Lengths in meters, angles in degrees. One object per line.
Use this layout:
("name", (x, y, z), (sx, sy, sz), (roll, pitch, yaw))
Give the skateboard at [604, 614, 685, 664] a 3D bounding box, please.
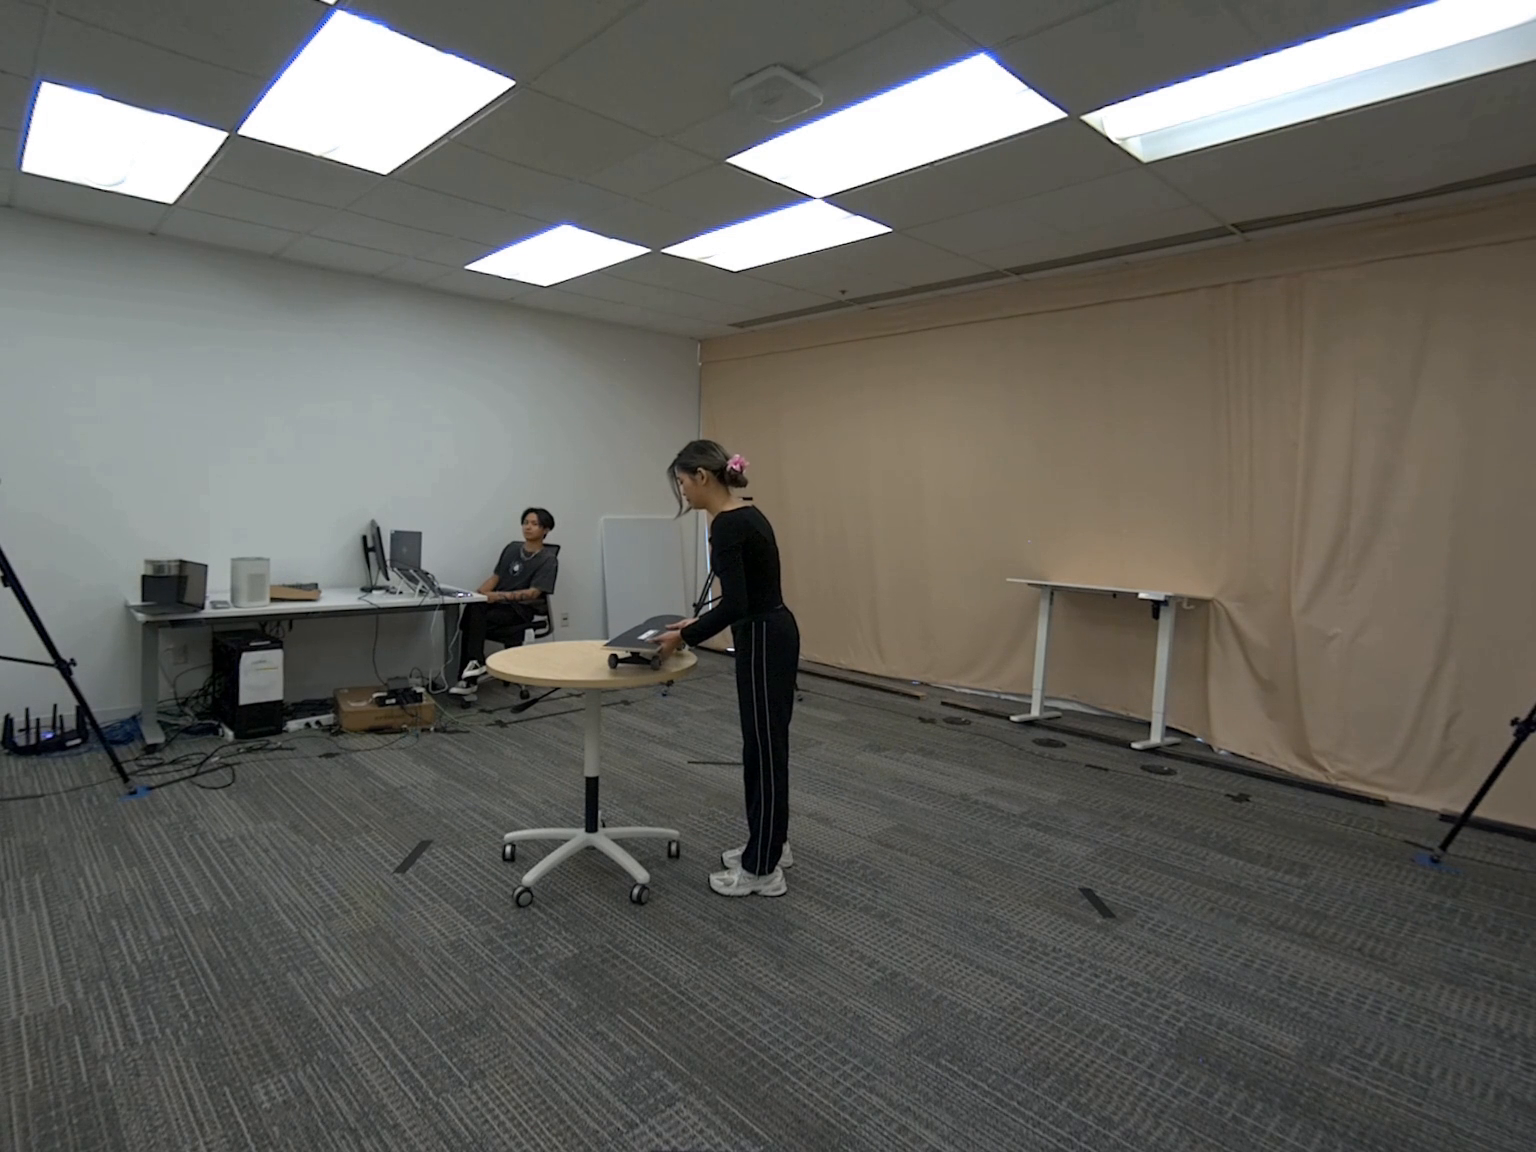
("skateboard", (-0.429, 0.251, 3.085), (0.194, 0.110, 0.782), (1, 5, 6))
